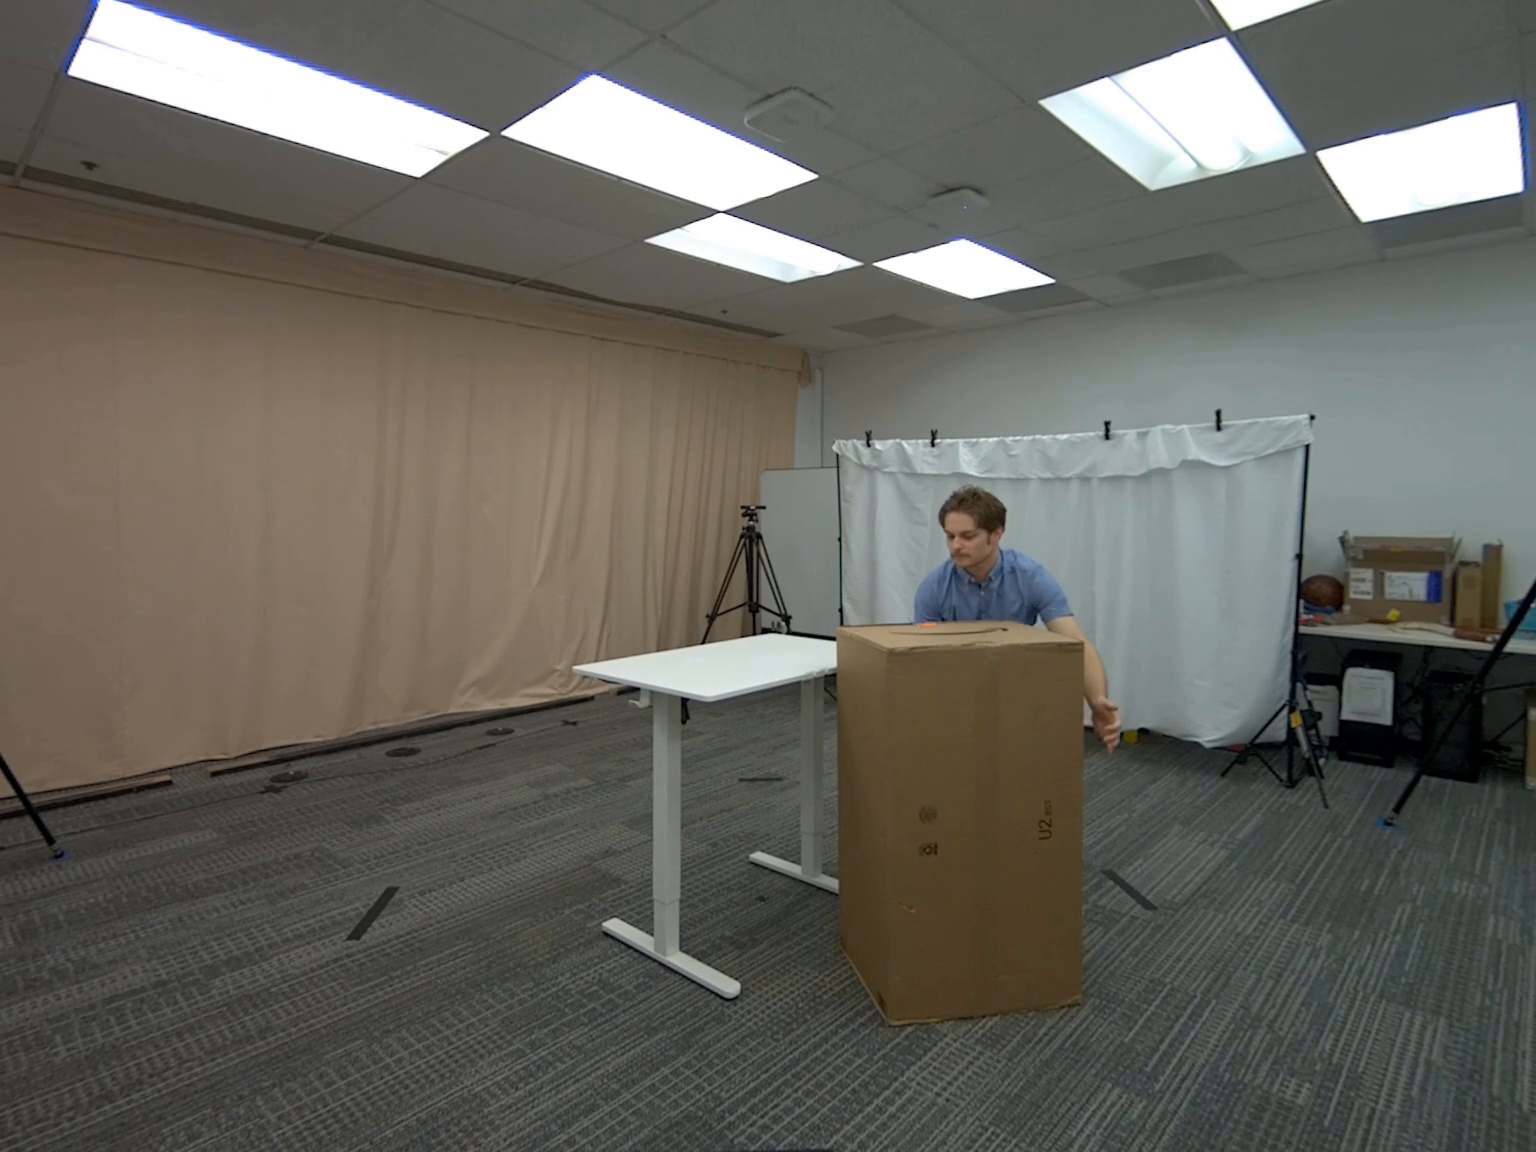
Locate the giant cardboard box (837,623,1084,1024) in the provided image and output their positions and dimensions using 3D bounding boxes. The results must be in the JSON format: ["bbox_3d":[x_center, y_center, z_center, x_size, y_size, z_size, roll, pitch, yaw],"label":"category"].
[{"bbox_3d":[0.549,0.672,2.476,0.571,1.024,0.432,-2,3,-11],"label":"giant cardboard box"}]
